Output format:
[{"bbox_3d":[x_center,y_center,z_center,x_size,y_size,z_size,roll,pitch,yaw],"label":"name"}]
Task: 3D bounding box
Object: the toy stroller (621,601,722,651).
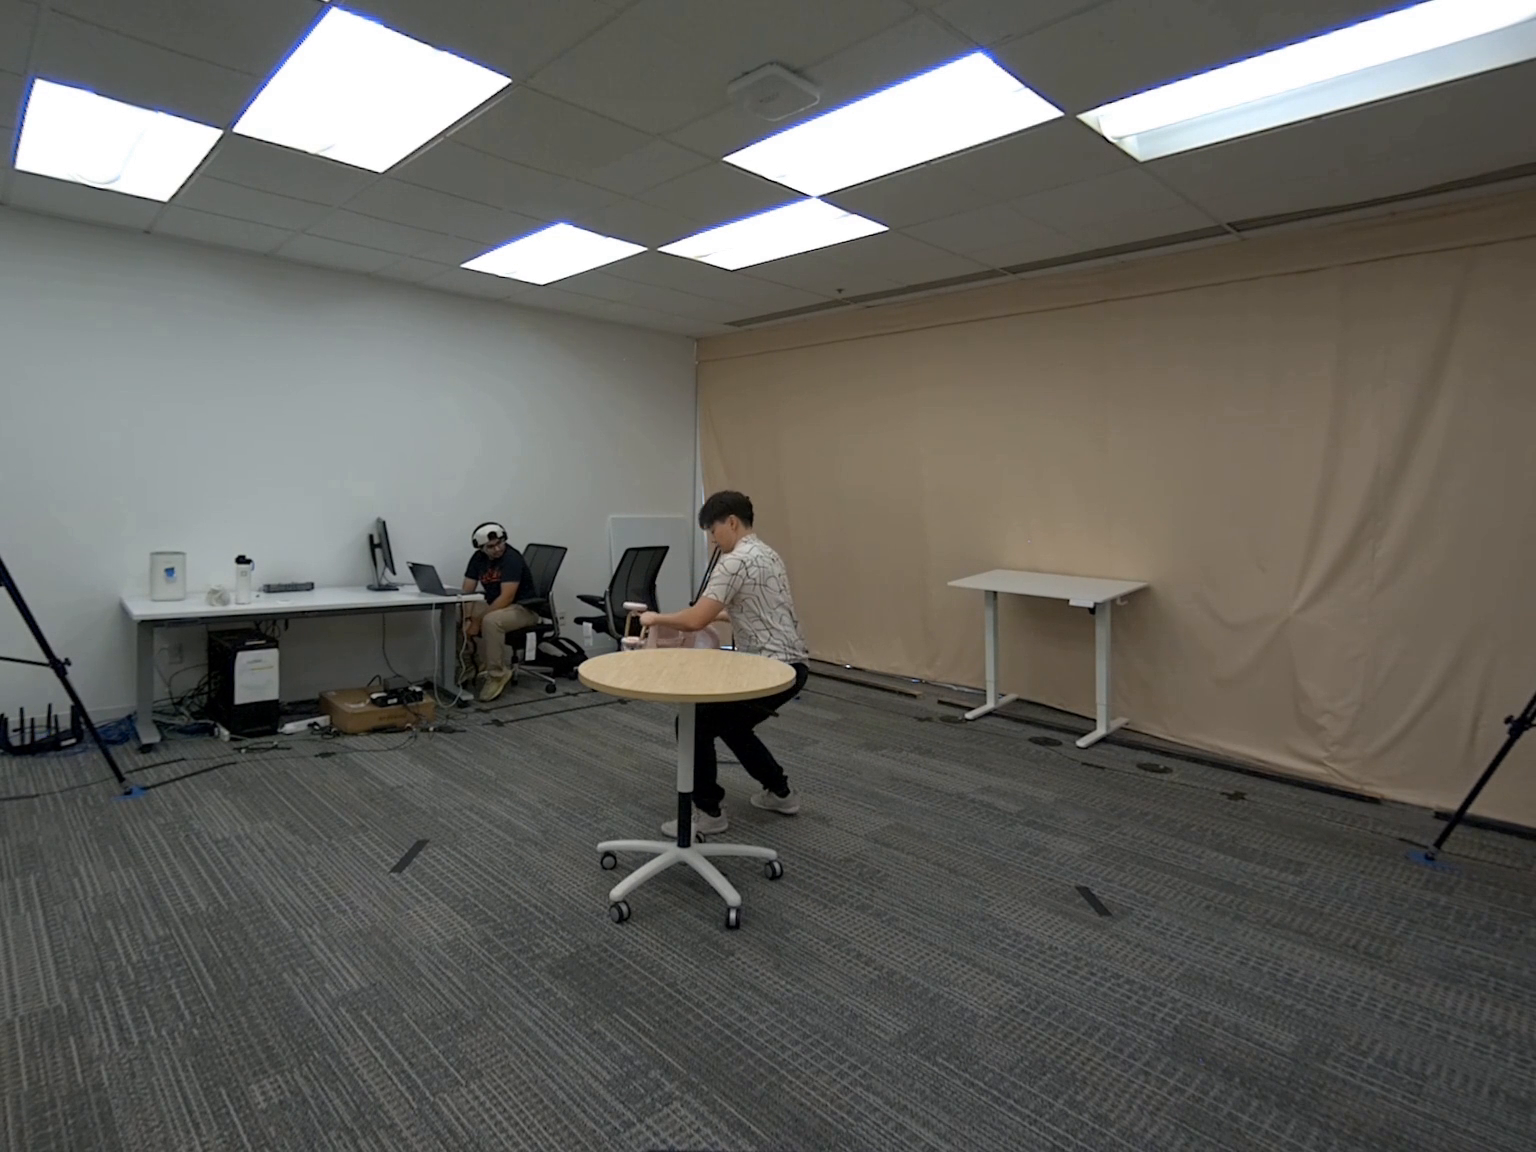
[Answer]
[{"bbox_3d":[-0.452,0.286,3.838,0.524,0.281,0.348,7,1,-26],"label":"toy stroller"}]
